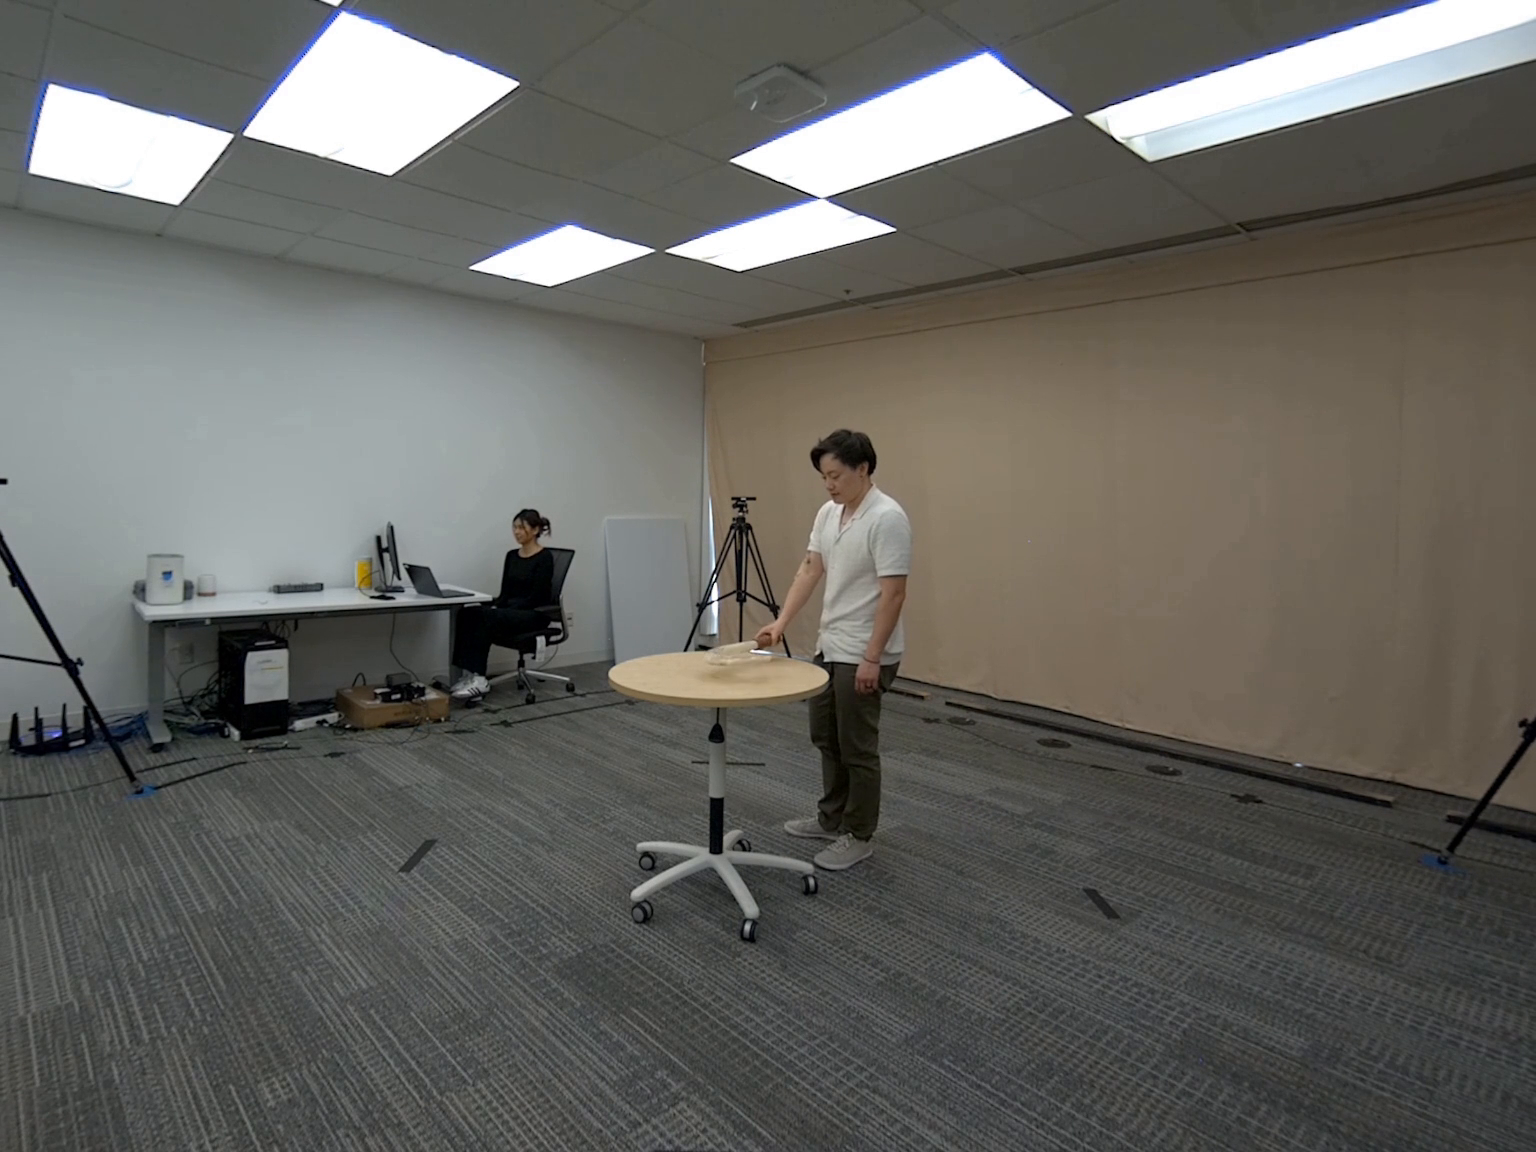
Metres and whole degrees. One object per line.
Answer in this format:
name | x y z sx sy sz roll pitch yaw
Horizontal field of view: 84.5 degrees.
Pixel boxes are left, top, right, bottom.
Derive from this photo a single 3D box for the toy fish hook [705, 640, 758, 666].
toy fish hook | -0.040 0.266 3.002 0.229 0.048 0.498 6 9 27
